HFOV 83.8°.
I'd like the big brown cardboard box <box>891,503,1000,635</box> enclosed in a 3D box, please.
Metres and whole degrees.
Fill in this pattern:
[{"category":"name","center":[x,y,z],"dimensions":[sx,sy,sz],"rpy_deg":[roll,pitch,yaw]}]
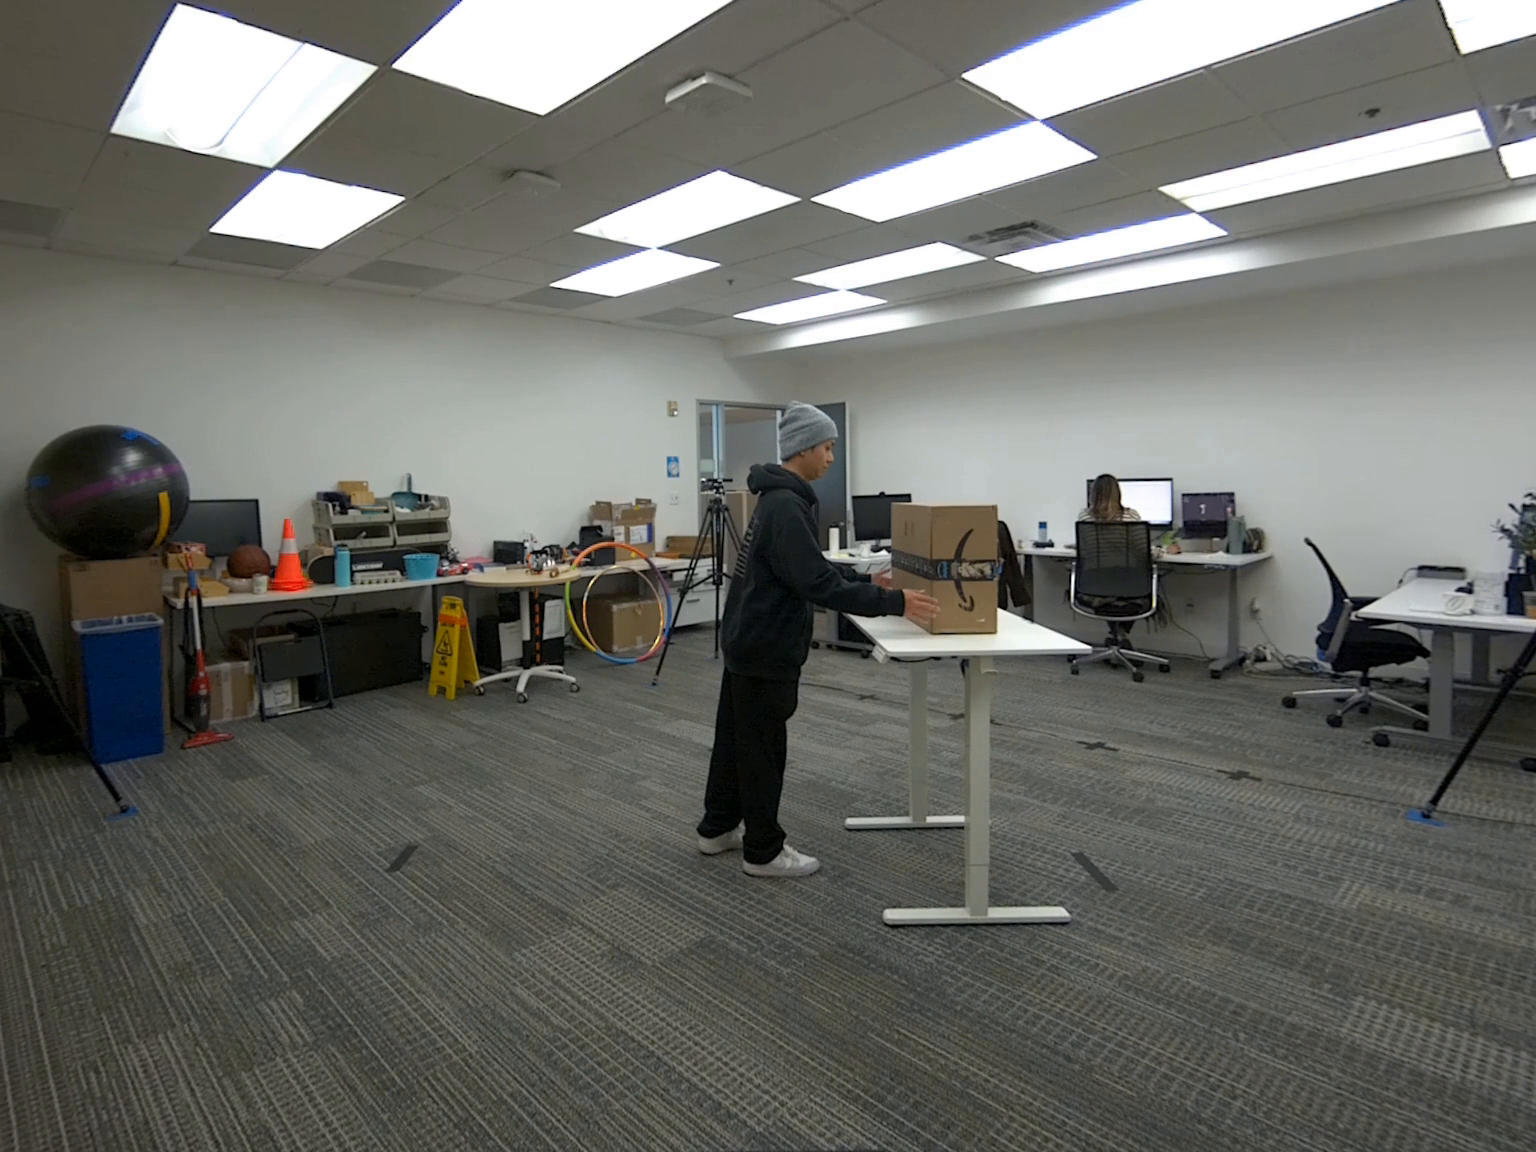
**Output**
[{"category":"big brown cardboard box","center":[0.608,-0.049,3.018],"dimensions":[0.232,0.416,0.593],"rpy_deg":[-1,5,-5]}]
